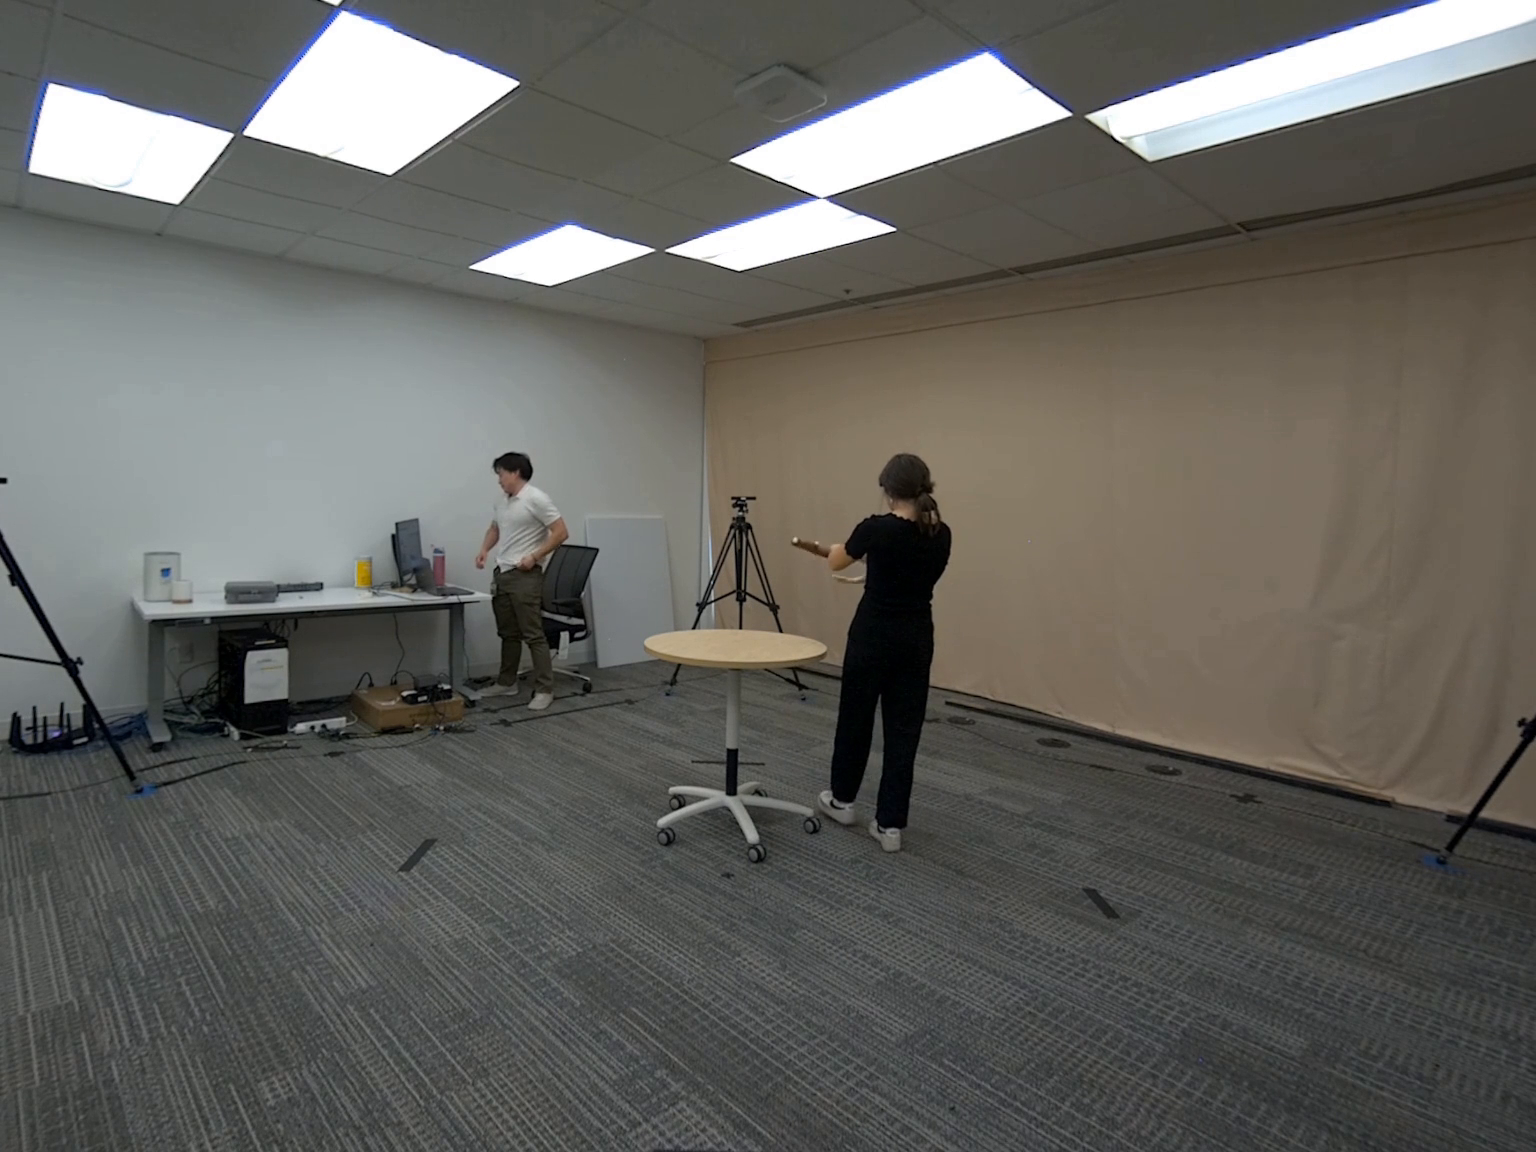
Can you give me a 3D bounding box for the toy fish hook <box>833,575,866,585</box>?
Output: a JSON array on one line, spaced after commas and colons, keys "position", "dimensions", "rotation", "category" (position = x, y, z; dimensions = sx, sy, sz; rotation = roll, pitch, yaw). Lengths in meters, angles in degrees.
[{"position": [0.295, -0.060, 3.869], "dimensions": [0.496, 0.049, 0.224], "rotation": [17, -47, -23], "category": "toy fish hook"}]
